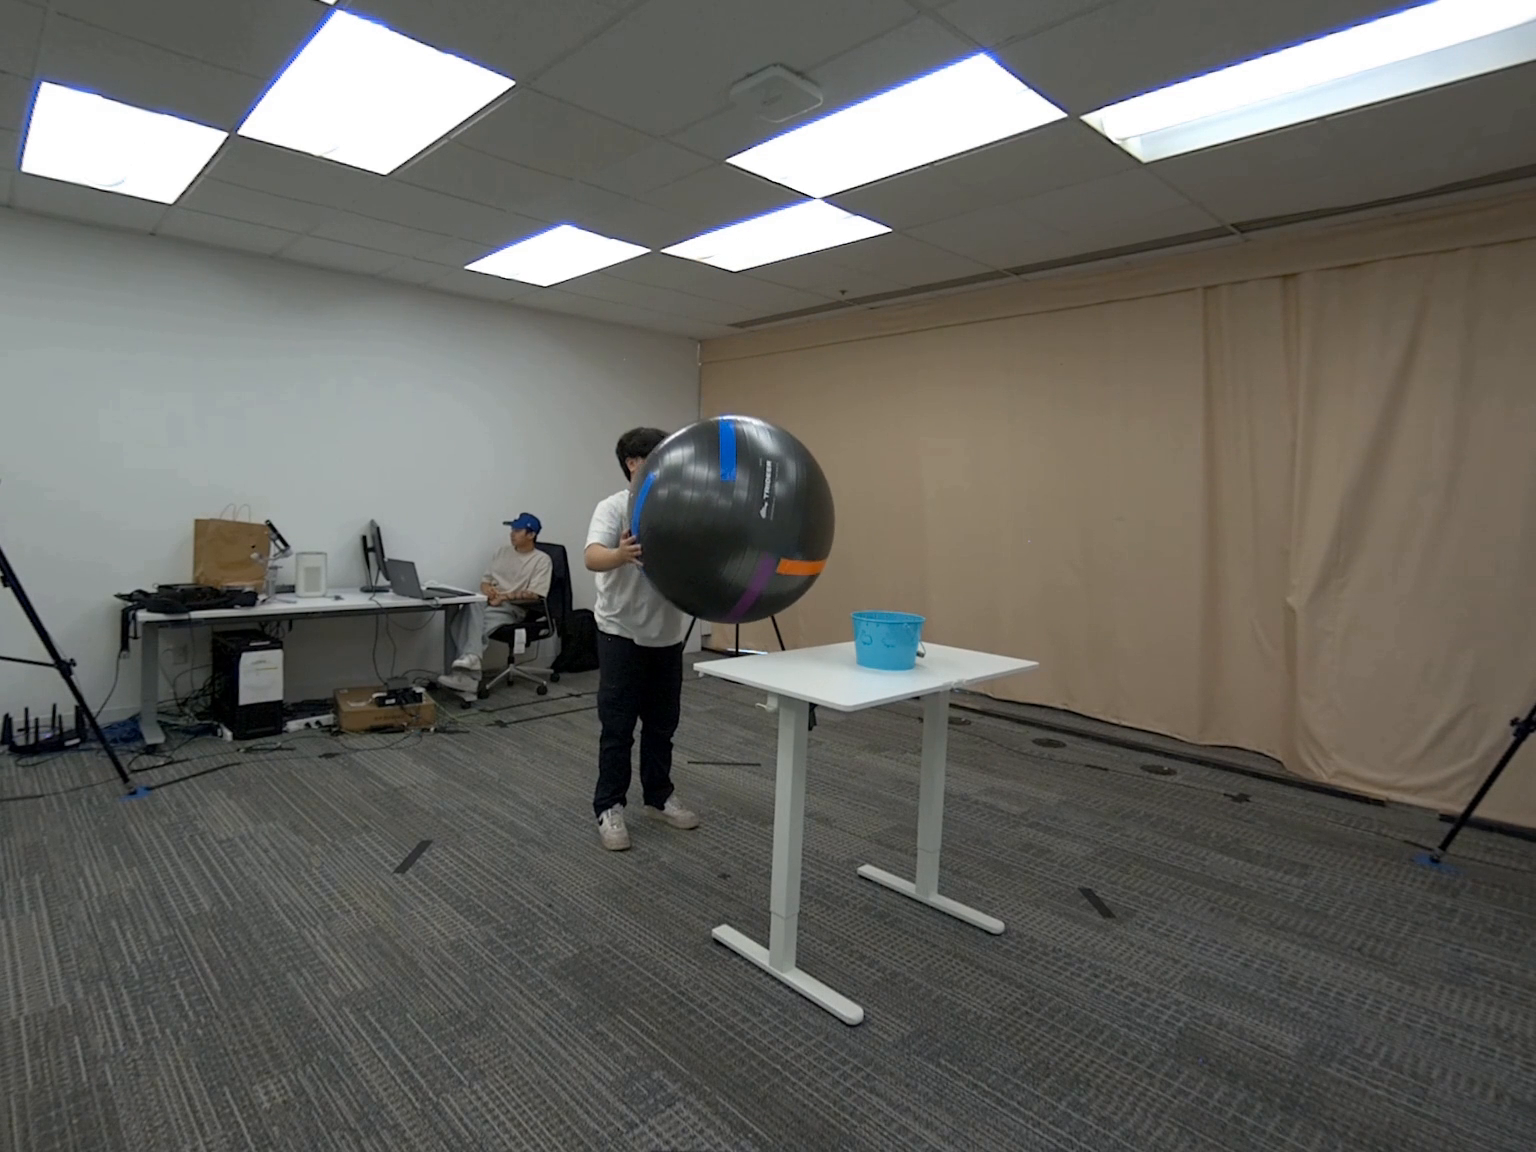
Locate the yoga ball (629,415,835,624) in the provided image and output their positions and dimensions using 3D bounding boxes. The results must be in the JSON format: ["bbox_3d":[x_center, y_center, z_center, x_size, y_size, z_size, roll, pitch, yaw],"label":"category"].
[{"bbox_3d":[-0.138,-0.197,3.063,0.757,0.756,0.761,1,4,-1],"label":"yoga ball"}]
